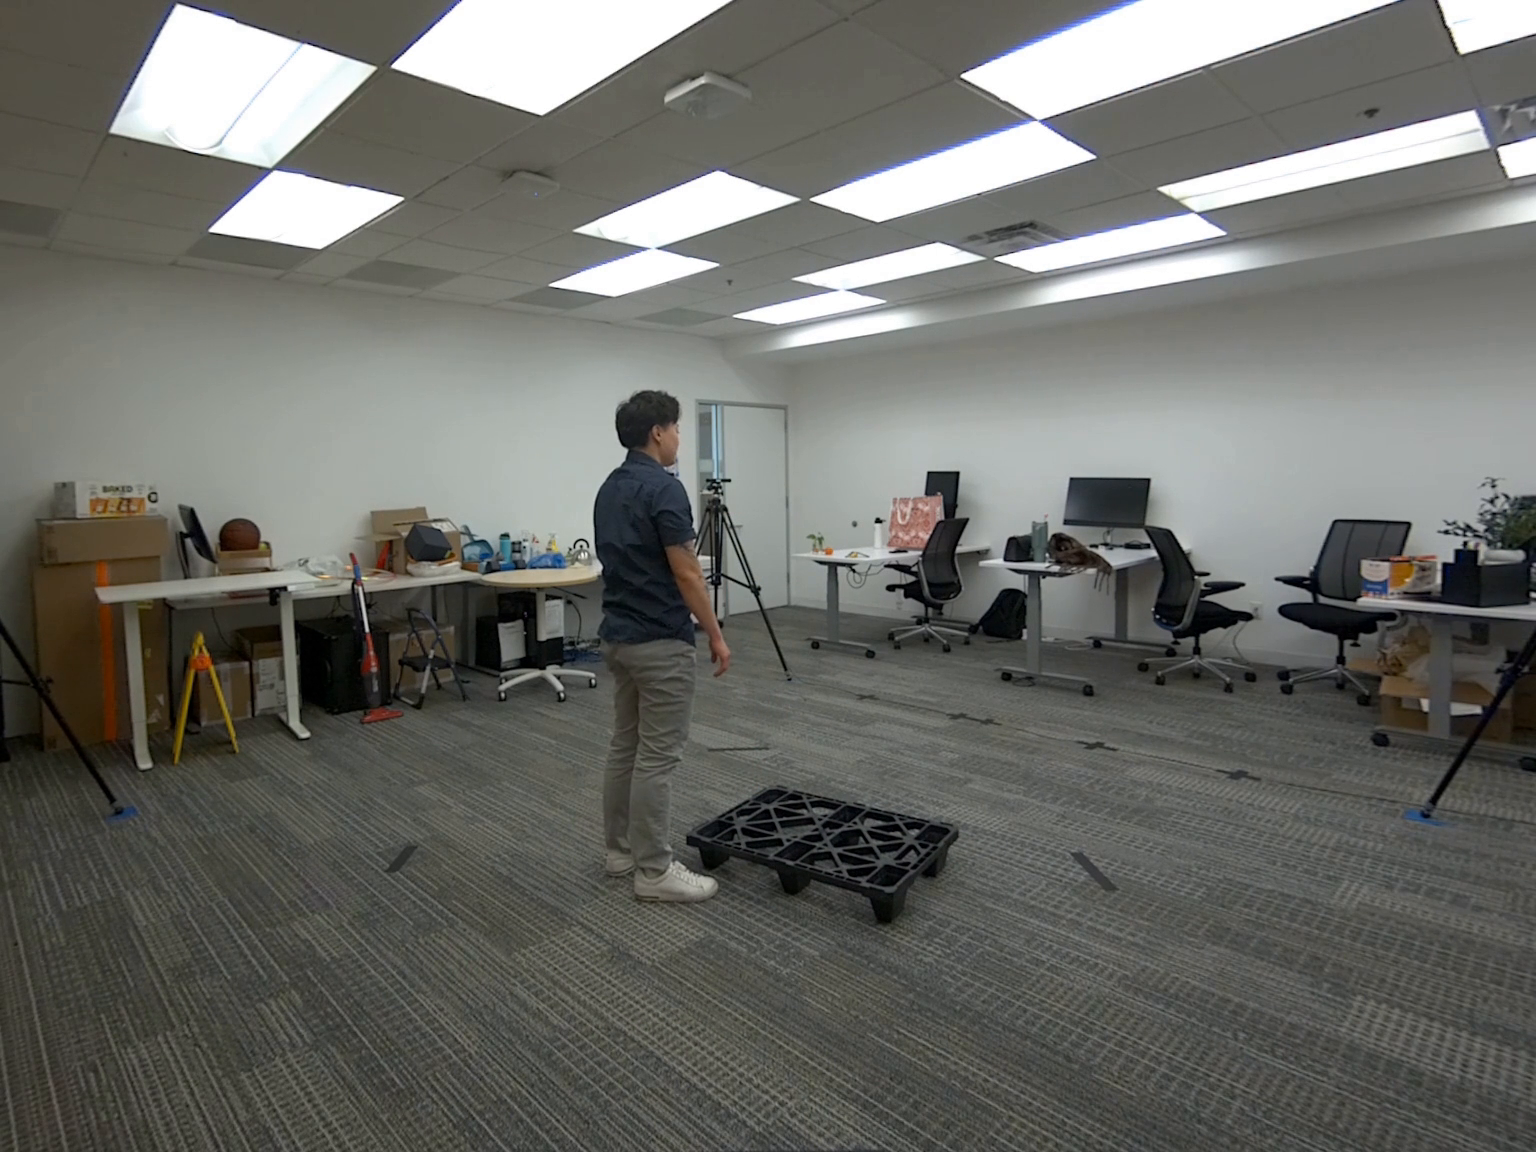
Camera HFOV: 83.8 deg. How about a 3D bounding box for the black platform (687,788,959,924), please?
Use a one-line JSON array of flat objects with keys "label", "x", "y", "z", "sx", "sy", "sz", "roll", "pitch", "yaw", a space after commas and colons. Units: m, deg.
[{"label": "black platform", "x": 0.196, "y": 0.975, "z": 3.069, "sx": 0.829, "sy": 0.143, "sz": 0.590, "roll": 4, "pitch": 7, "yaw": 34}]
